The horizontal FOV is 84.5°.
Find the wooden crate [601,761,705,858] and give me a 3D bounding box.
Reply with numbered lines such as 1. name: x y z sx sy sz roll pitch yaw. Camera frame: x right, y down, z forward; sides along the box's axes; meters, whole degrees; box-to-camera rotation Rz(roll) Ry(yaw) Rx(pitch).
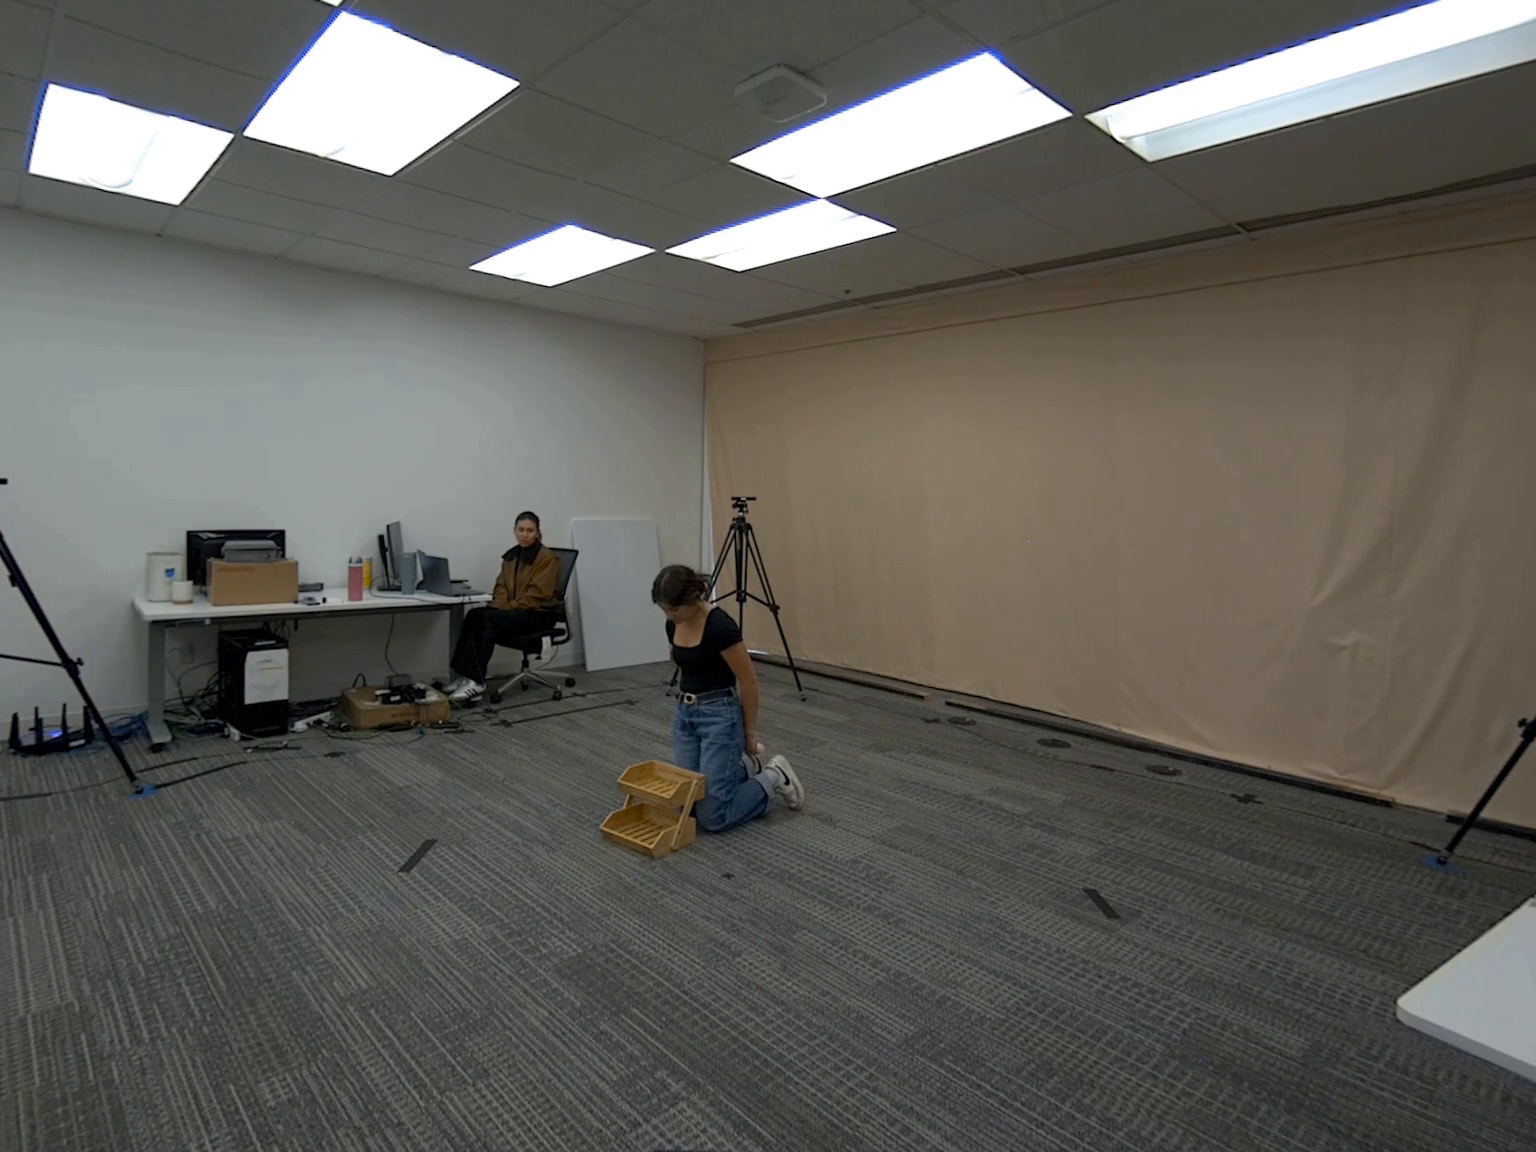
1. wooden crate: -0.481 0.938 3.422 0.332 0.273 0.295 5 4 38
